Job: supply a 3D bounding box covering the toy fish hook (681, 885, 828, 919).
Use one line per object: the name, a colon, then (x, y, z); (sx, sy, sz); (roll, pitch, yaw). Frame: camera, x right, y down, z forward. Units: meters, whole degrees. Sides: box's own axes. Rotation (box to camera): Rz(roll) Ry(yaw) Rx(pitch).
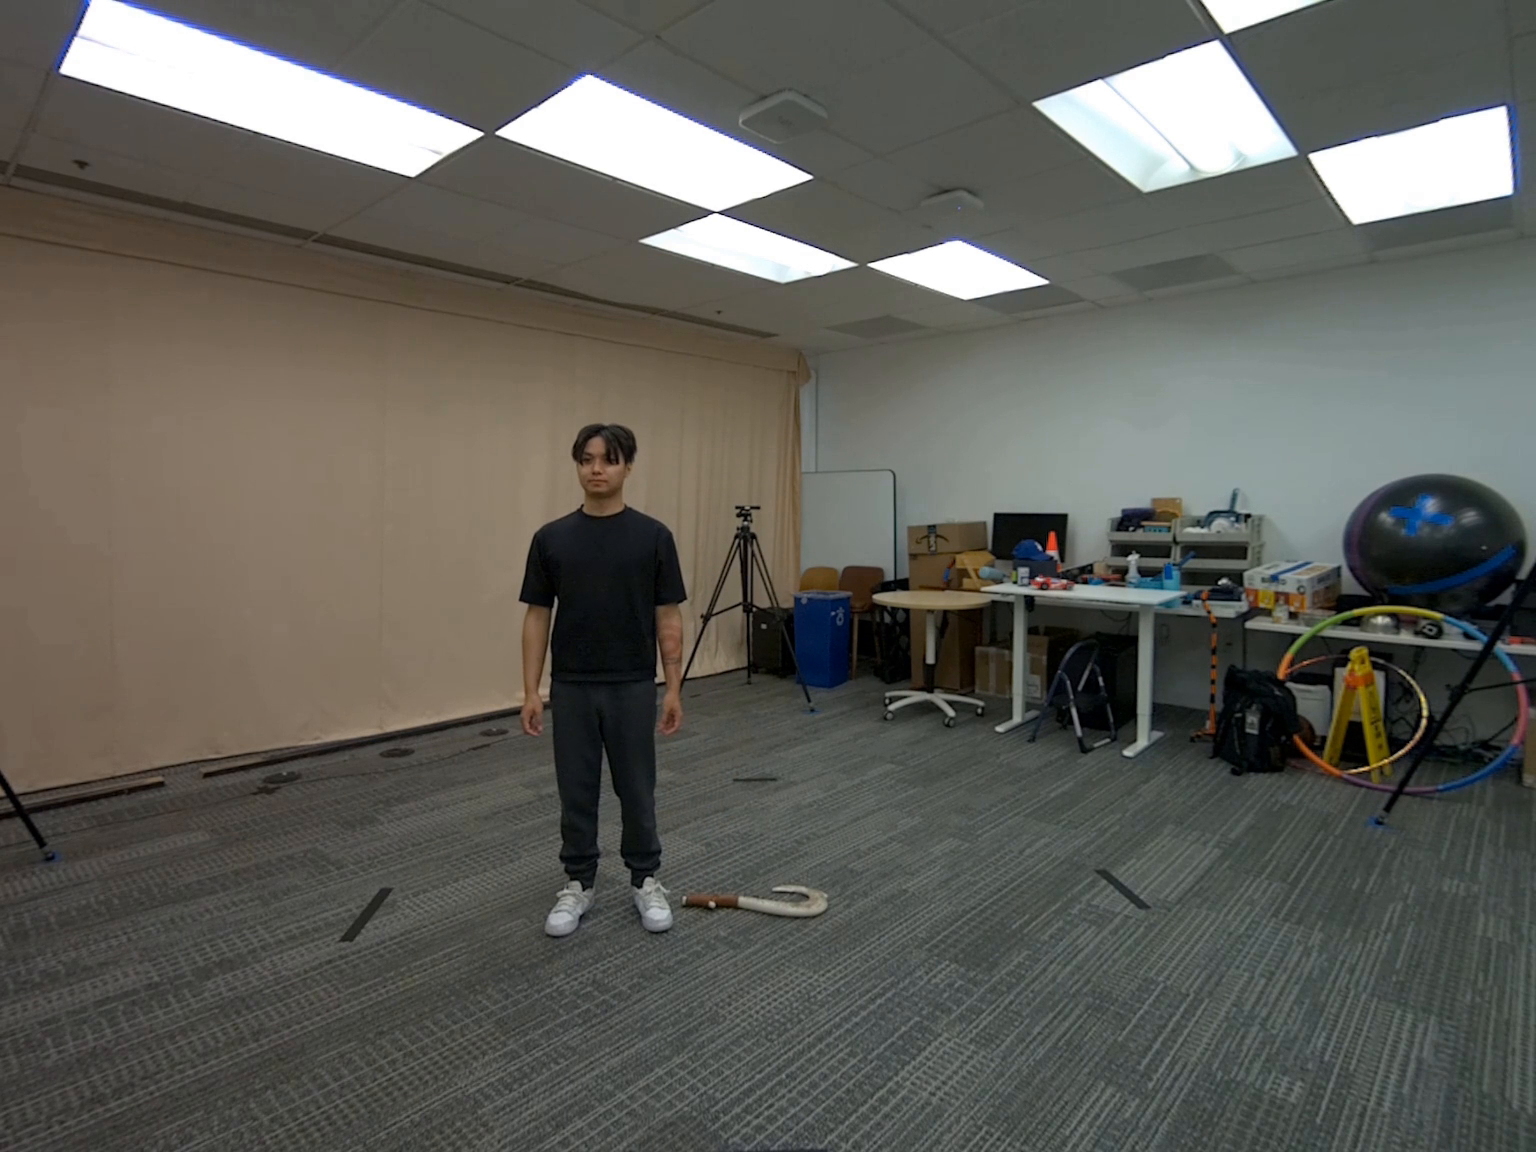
toy fish hook: (-0.043, 1.134, 2.949); (0.510, 0.048, 0.222); (1, -3, 6)
